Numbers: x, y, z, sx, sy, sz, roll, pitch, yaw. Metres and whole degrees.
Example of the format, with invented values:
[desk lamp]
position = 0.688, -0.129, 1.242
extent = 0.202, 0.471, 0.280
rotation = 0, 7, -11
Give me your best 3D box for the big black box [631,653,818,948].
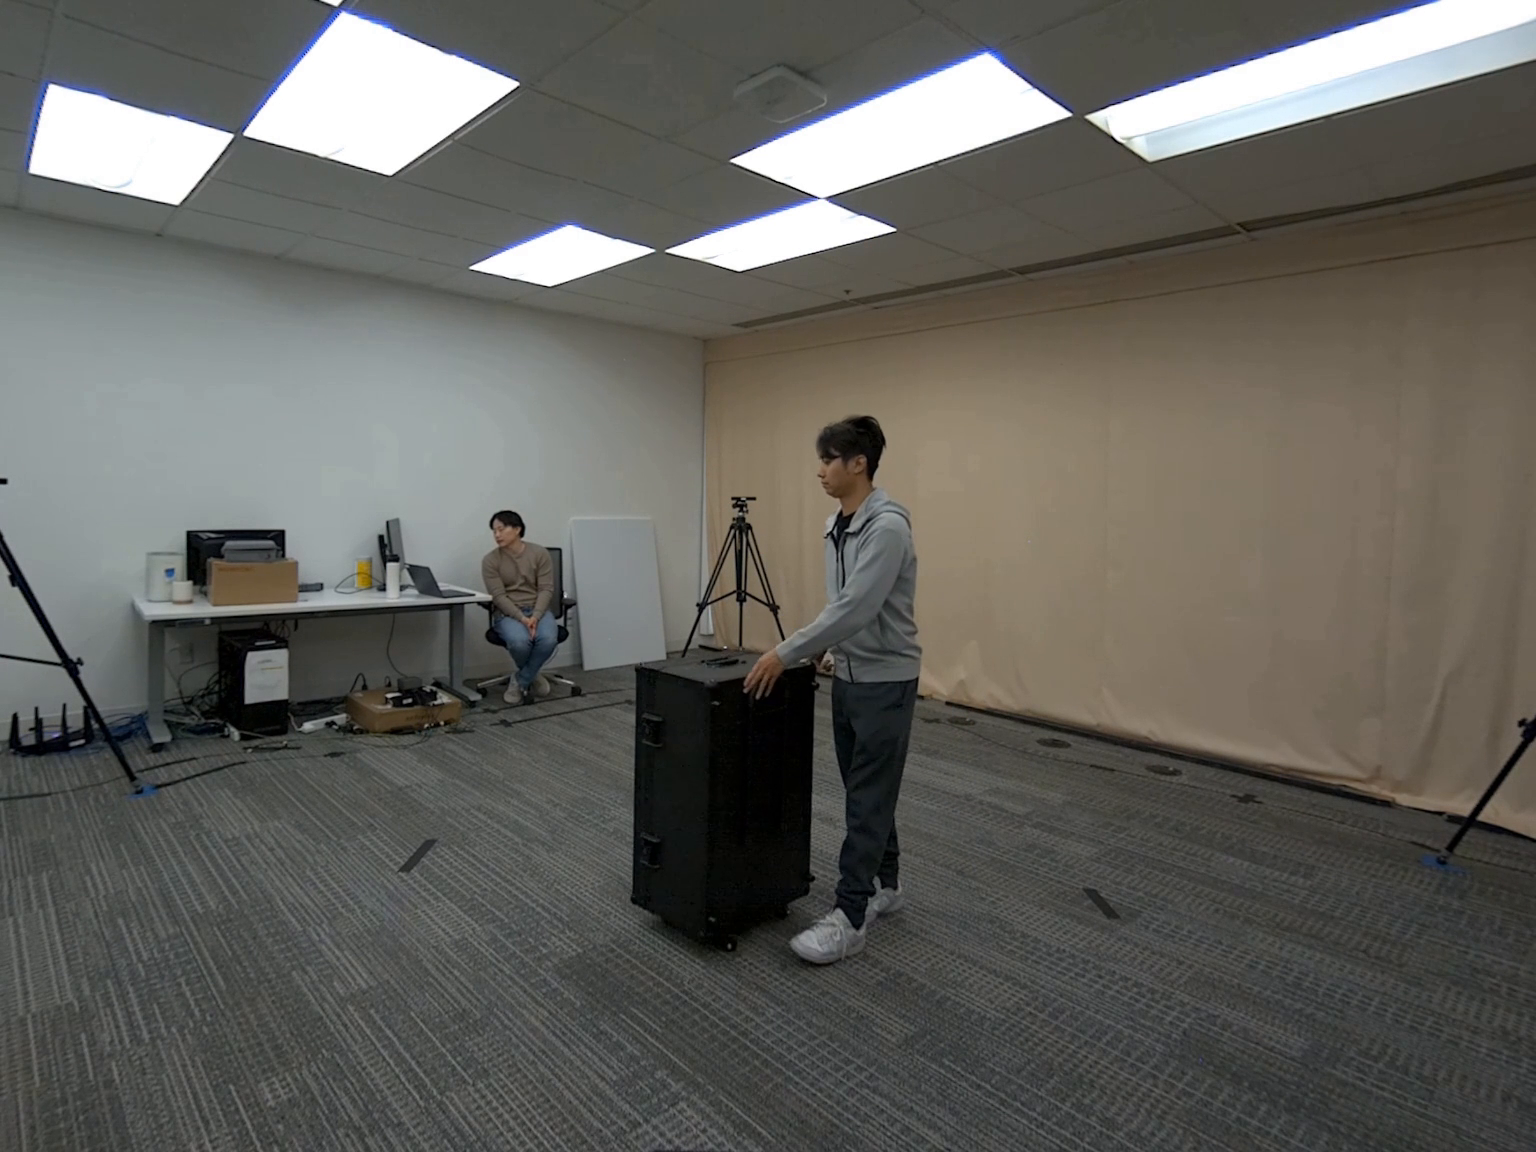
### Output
[big black box]
position = -0.139, 0.711, 2.761
extent = 0.406, 0.859, 0.509
rotation = 4, 4, 42
